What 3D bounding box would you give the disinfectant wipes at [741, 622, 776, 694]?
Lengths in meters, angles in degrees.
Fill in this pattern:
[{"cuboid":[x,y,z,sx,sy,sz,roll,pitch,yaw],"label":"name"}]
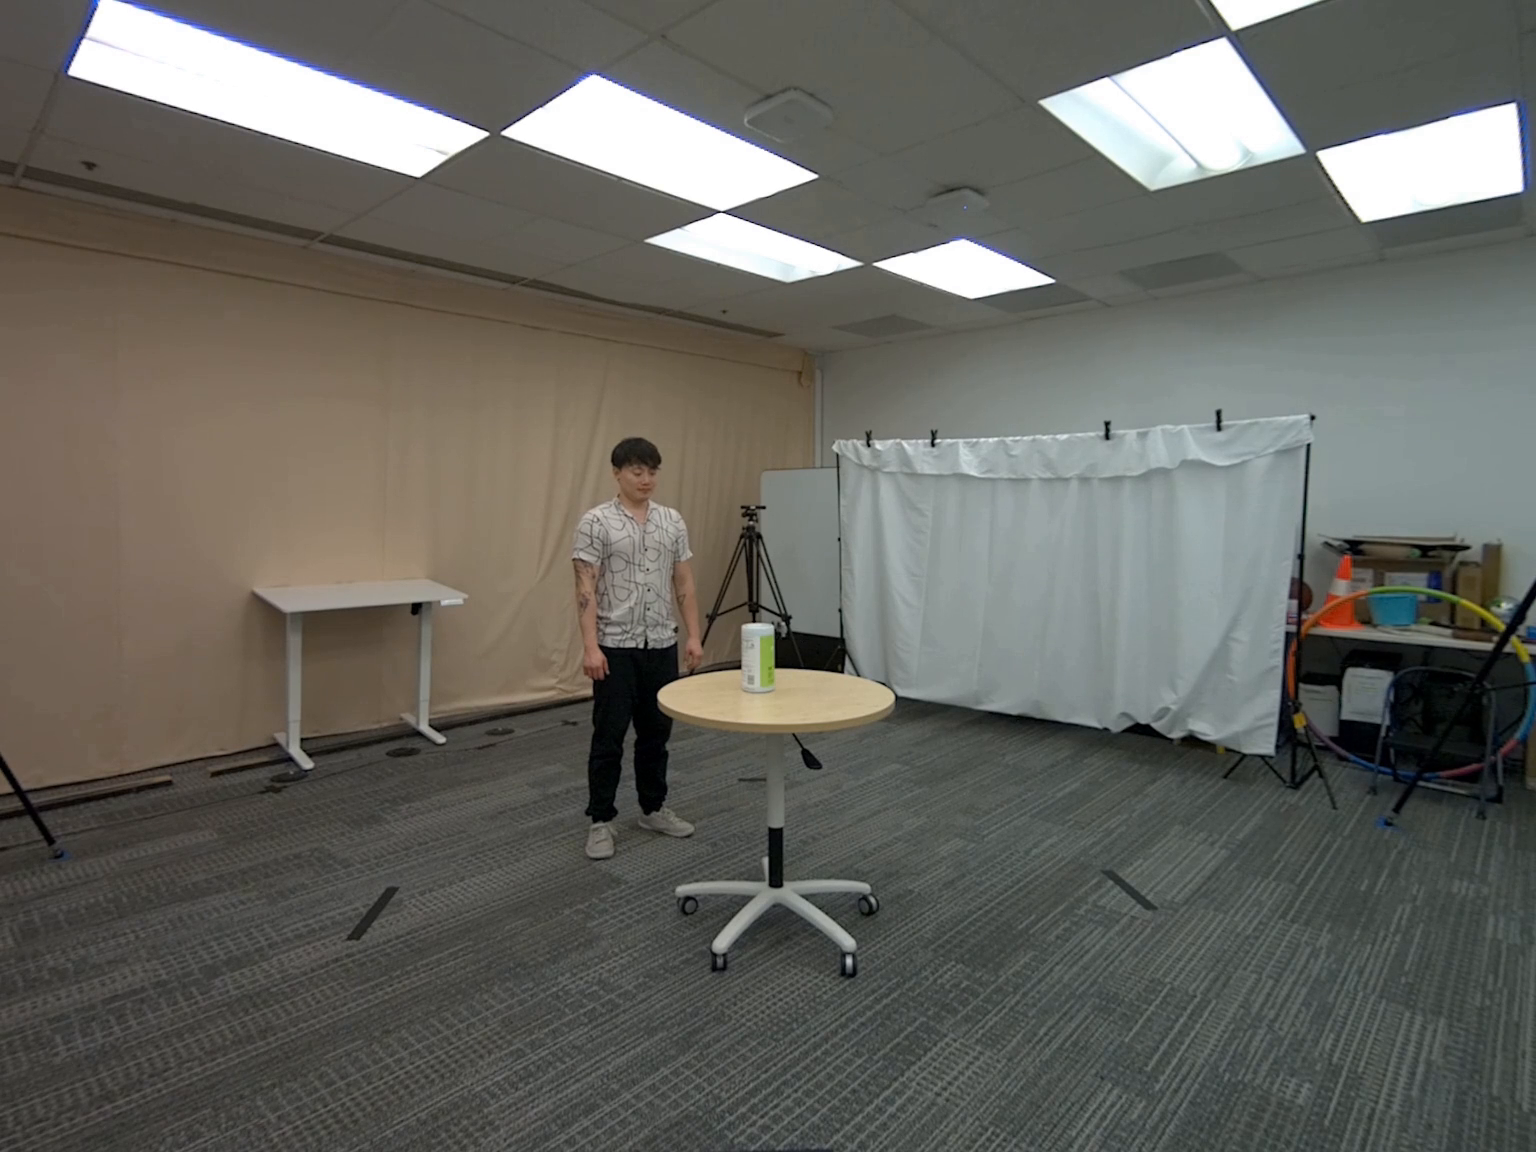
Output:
[{"cuboid":[-0.029,0.273,2.779,0.118,0.217,0.118,1,2,-2],"label":"disinfectant wipes"}]
